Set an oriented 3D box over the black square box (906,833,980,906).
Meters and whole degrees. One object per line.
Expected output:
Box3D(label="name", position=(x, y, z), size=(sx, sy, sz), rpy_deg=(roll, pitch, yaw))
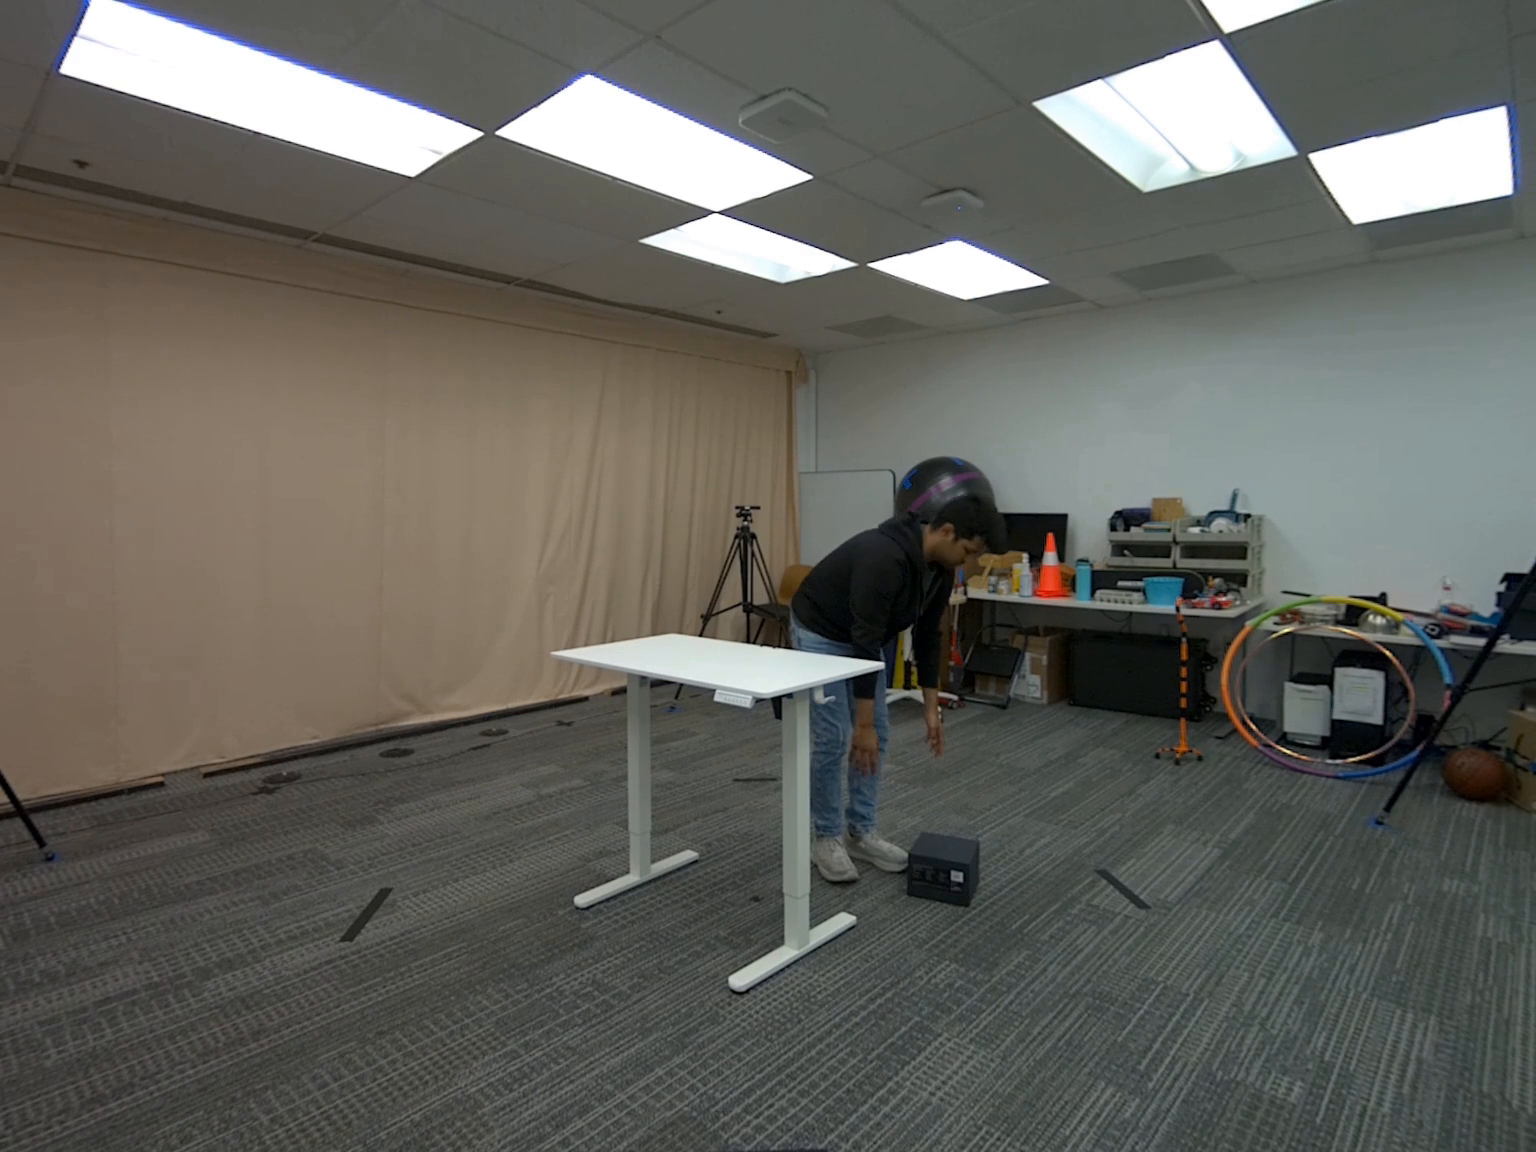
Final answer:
Box3D(label="black square box", position=(0.641, 1.051, 3.047), size=(0.222, 0.155, 0.223), rpy_deg=(2, 5, 24))
